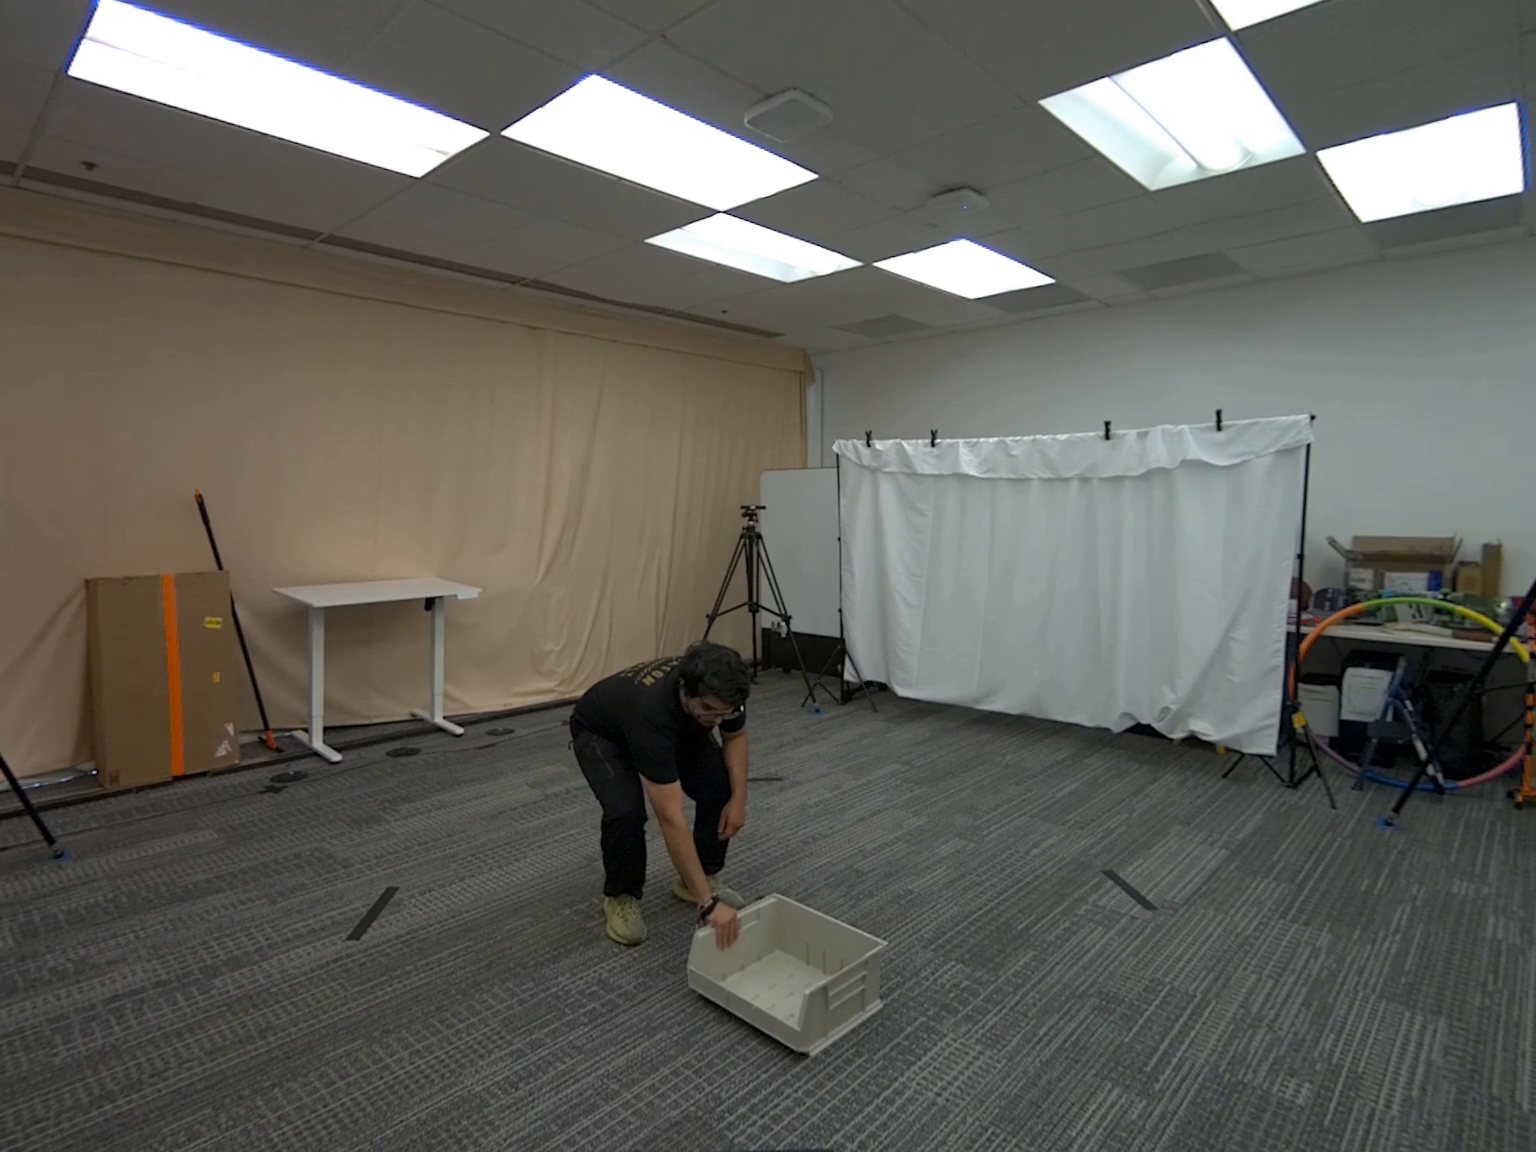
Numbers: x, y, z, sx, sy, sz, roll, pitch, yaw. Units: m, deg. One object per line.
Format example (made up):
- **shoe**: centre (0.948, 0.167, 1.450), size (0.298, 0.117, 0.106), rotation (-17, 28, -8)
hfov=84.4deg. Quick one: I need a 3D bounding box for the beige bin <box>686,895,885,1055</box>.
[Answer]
- **beige bin**: centre (0.056, 1.108, 2.356), size (0.436, 0.189, 0.365), rotation (4, 5, 44)
